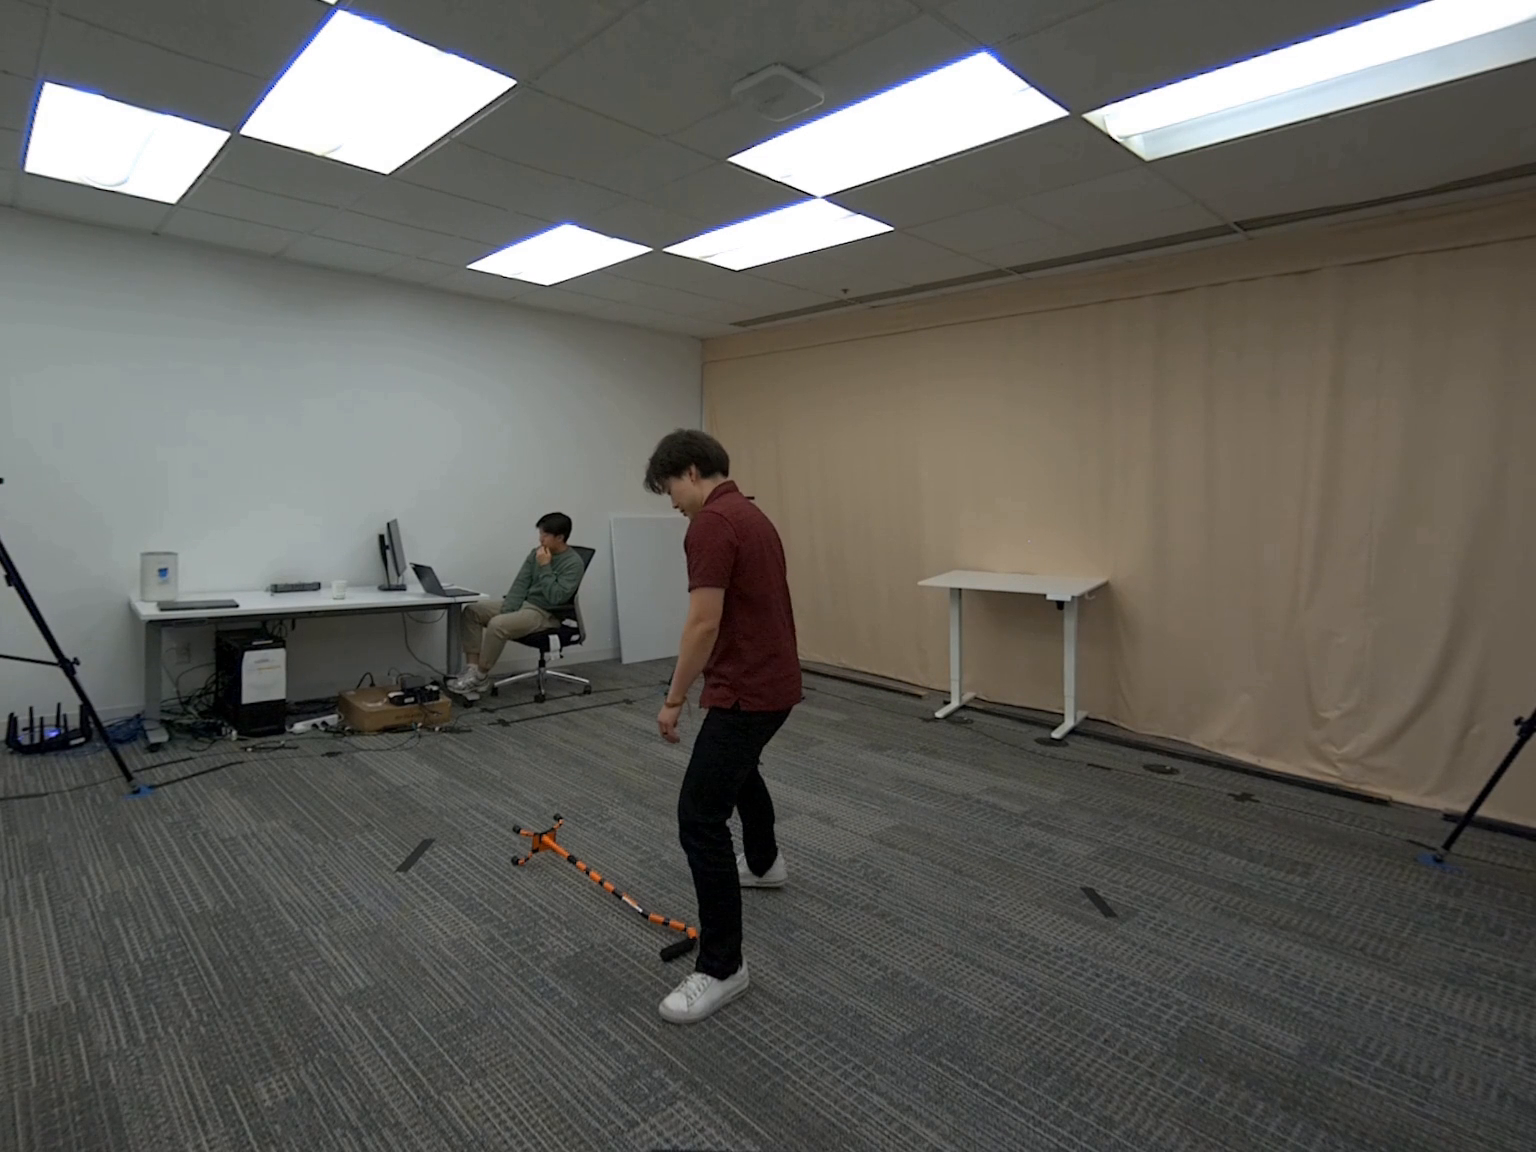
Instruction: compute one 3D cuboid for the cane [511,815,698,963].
[{"bbox_3d":[-0.570,1.071,2.893,0.202,0.151,0.933,-4,12,-44],"label":"cane"}]
